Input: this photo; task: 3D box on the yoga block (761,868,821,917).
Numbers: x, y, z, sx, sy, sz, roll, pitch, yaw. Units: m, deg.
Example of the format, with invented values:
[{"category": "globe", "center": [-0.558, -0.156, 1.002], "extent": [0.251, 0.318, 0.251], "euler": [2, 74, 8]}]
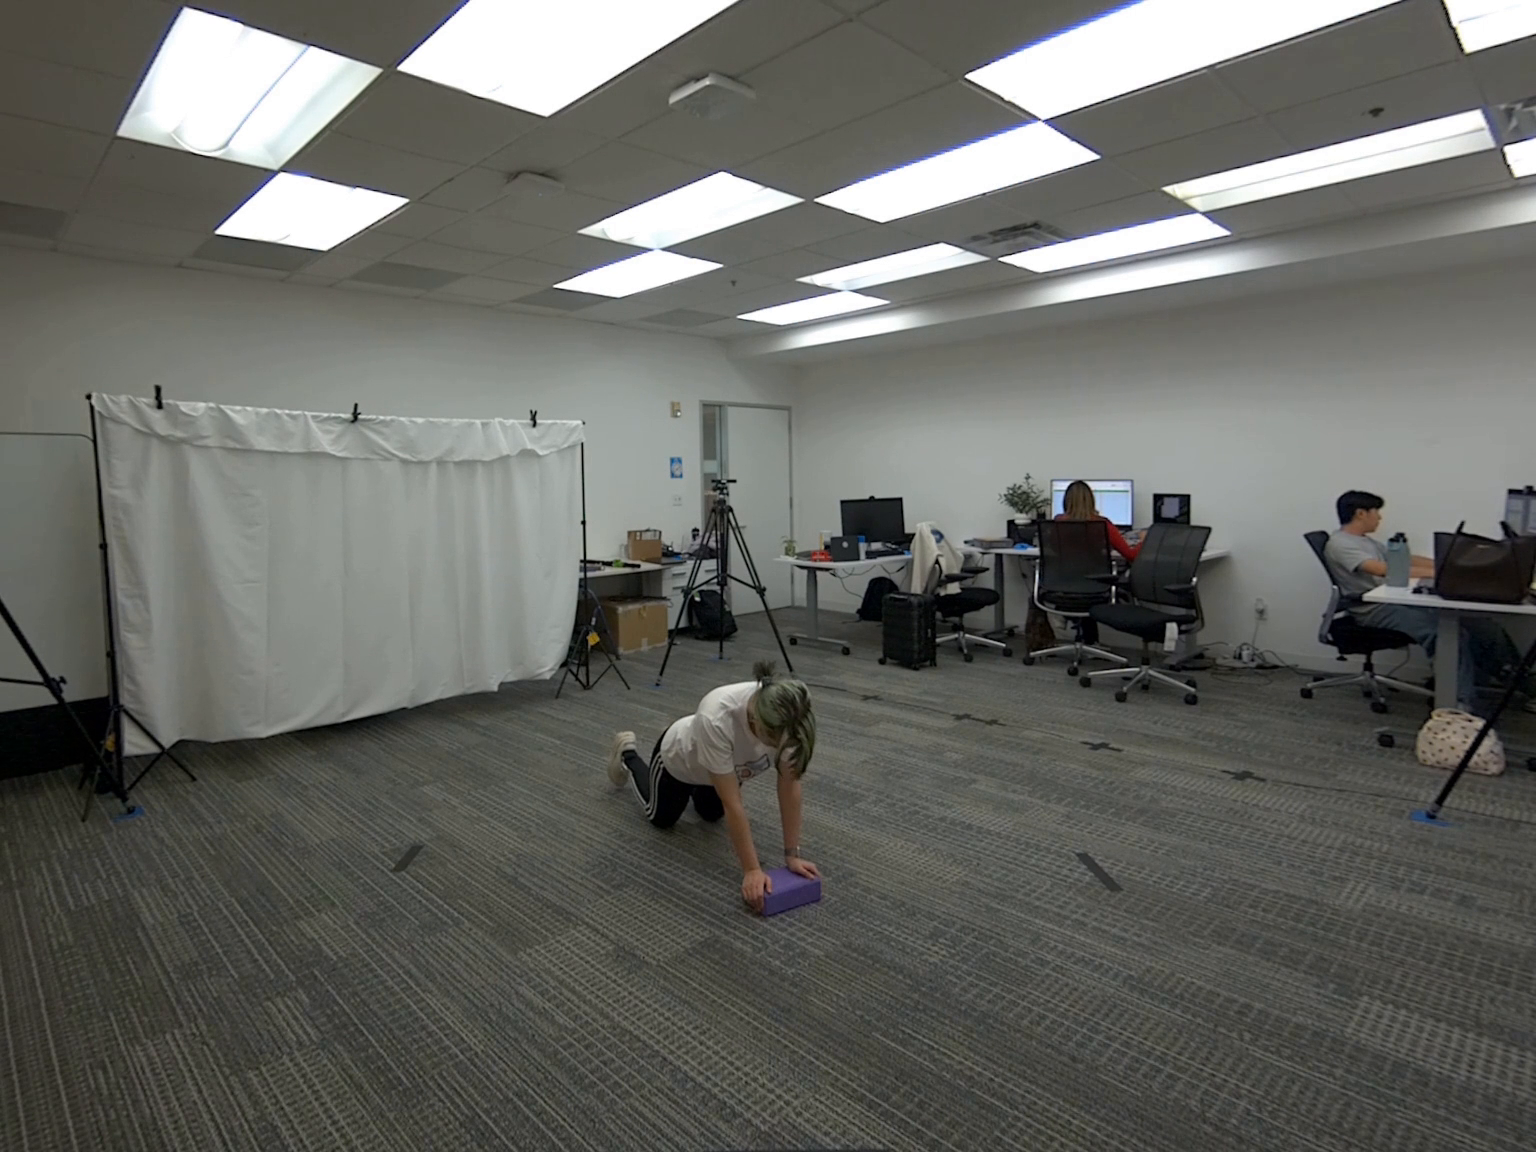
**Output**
[{"category": "yoga block", "center": [0.049, 1.038, 2.839], "extent": [0.224, 0.076, 0.153], "euler": [-4, 7, -32]}]
